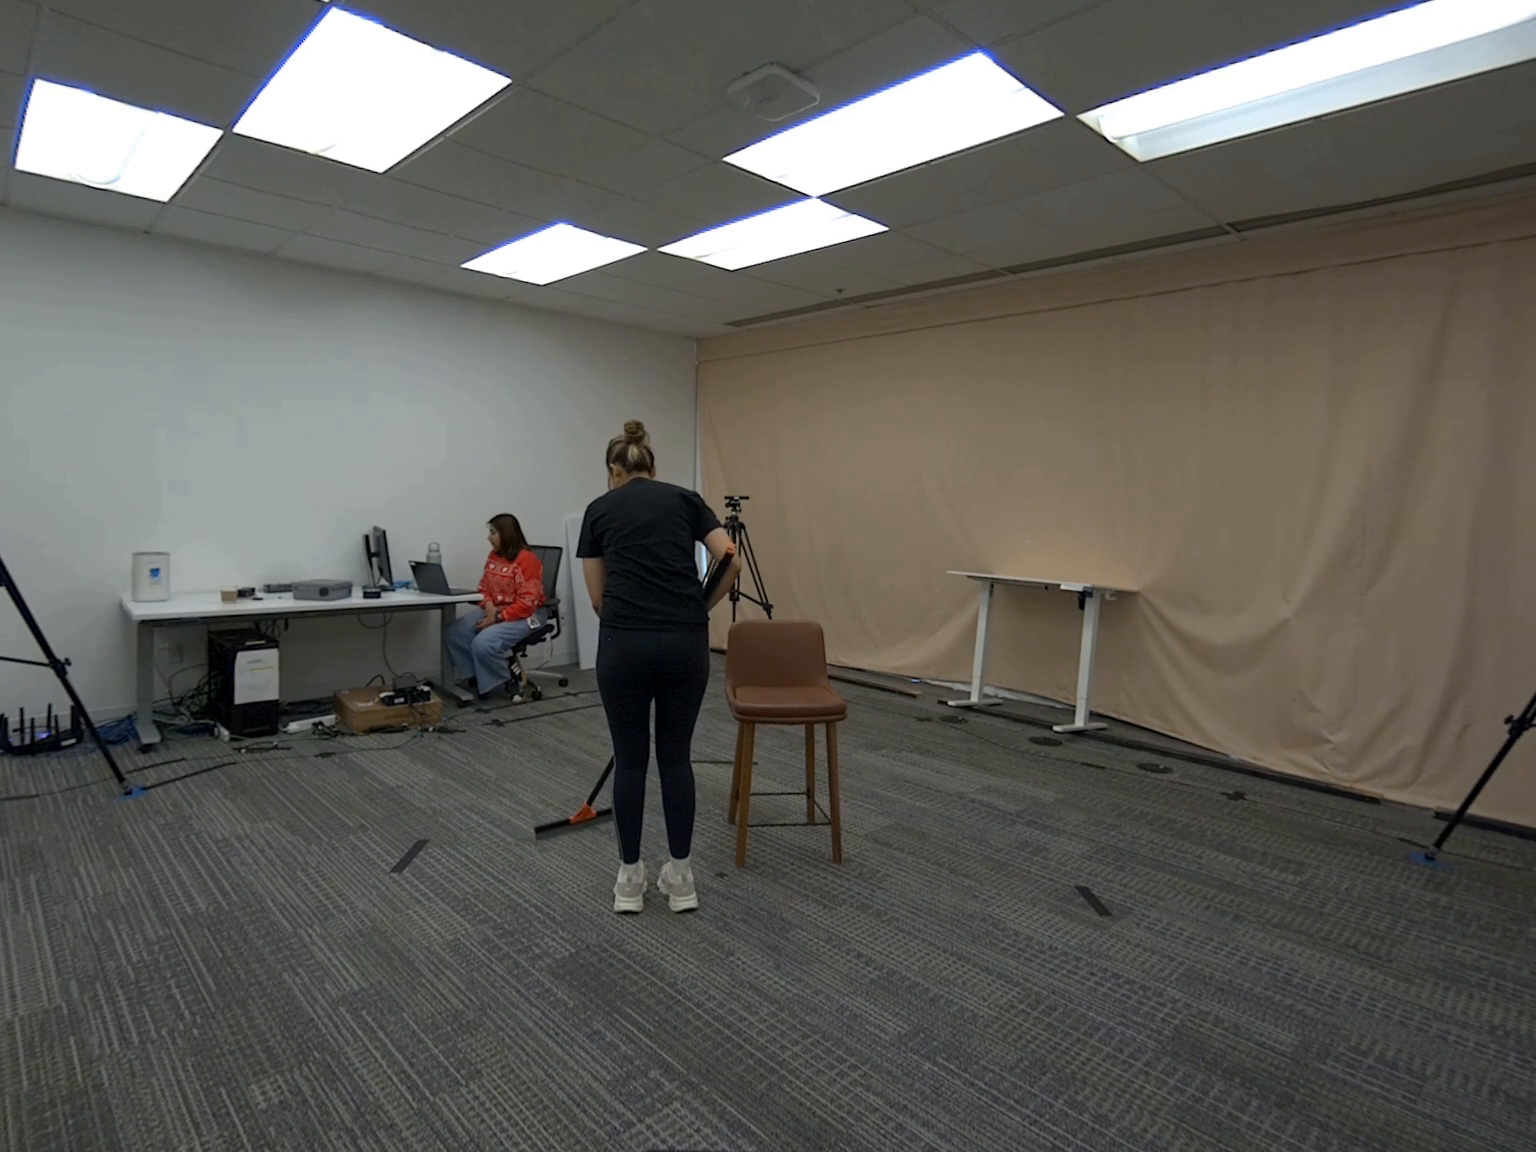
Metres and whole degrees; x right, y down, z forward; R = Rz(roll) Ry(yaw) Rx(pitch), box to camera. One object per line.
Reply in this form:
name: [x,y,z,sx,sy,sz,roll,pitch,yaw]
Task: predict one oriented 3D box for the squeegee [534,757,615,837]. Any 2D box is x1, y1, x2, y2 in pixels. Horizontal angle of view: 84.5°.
squeegee: [-0.457,0.471,3.148,0.428,1.529,0.054,-4,47,-44]
